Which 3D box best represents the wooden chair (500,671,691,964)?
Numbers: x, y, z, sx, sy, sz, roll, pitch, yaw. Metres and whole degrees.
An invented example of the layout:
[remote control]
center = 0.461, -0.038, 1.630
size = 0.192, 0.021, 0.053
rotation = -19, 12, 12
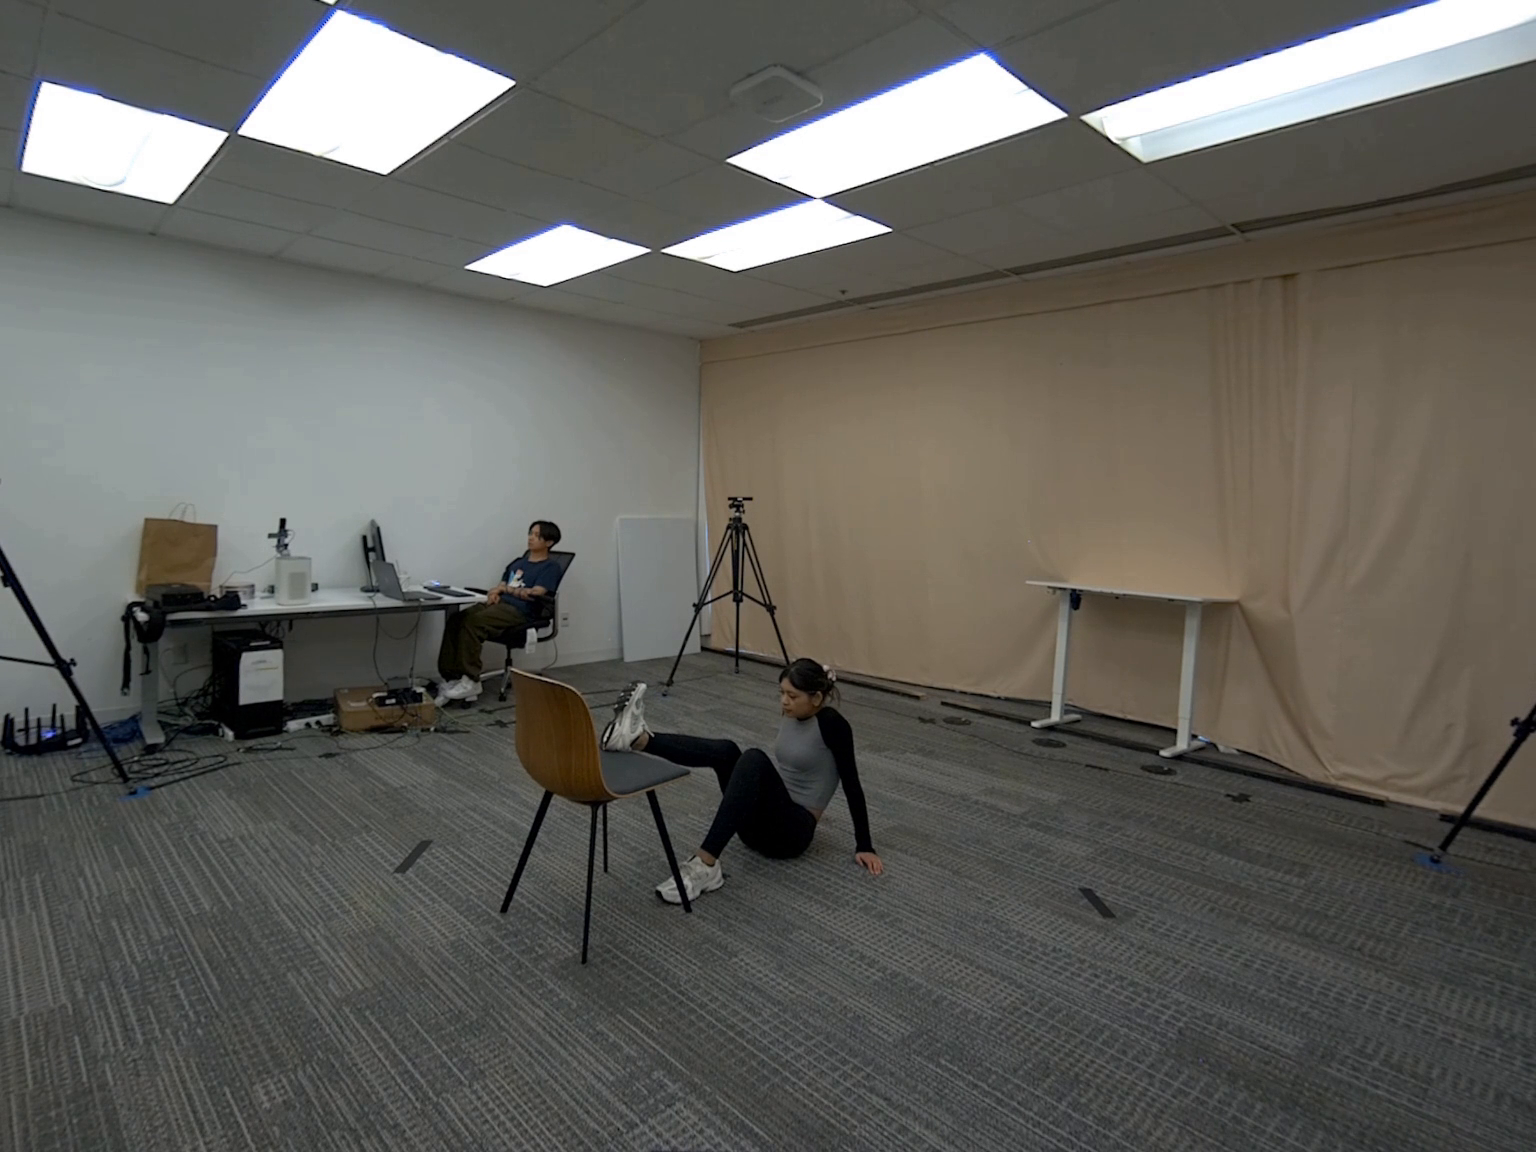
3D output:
[wooden chair]
center = -0.561, 0.699, 2.784
size = 0.490, 0.873, 0.512
rotation = 4, 9, 41
